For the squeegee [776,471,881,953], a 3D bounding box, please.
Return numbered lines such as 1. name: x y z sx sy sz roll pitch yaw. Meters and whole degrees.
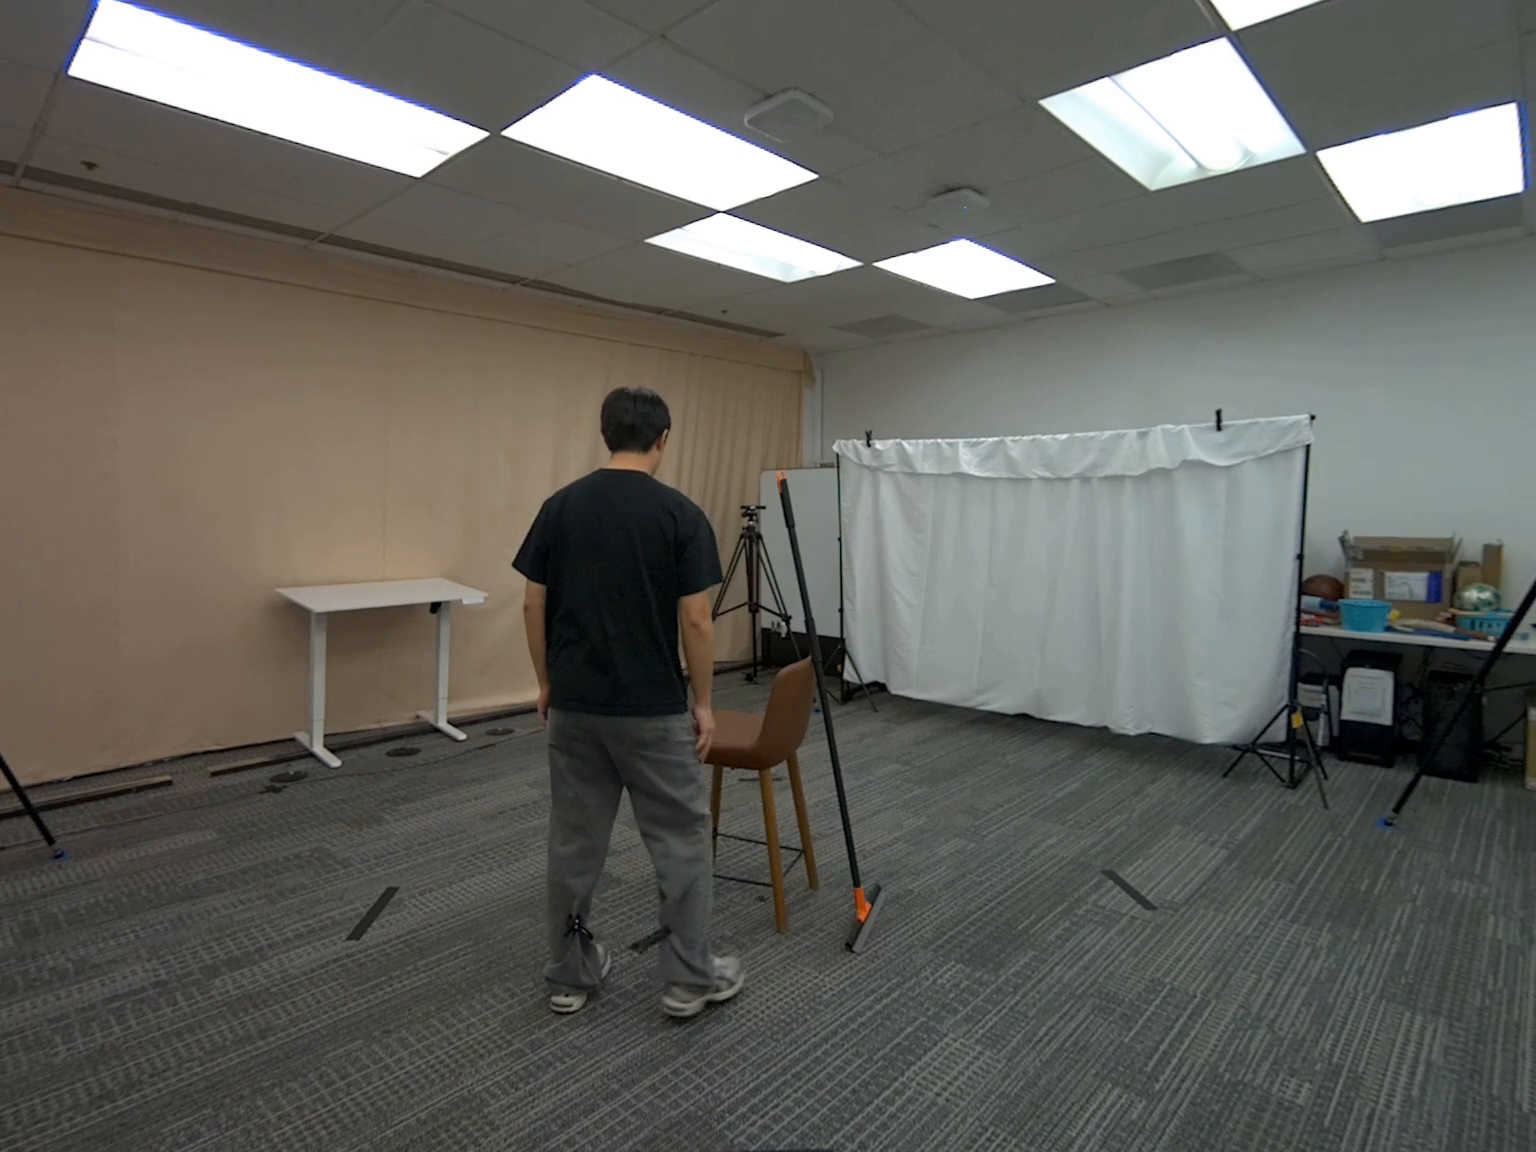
1. squeegee: 0.196 0.400 2.842 0.054 1.539 0.430 -10 -1 16
